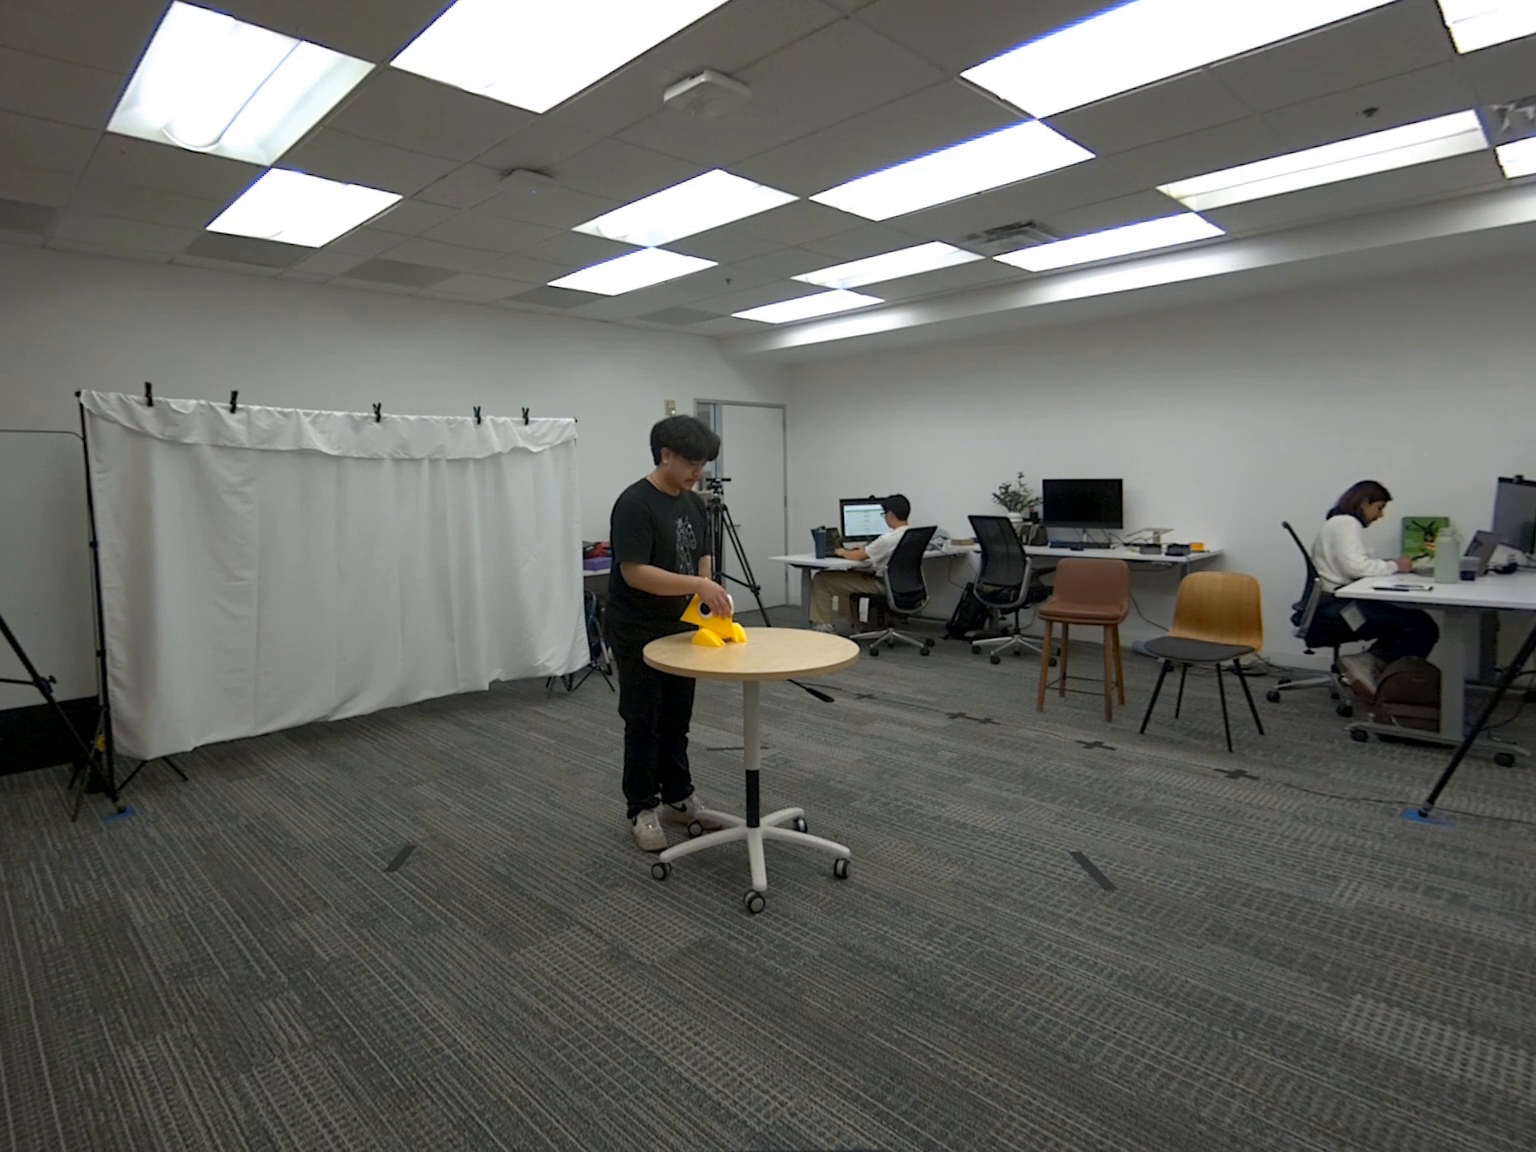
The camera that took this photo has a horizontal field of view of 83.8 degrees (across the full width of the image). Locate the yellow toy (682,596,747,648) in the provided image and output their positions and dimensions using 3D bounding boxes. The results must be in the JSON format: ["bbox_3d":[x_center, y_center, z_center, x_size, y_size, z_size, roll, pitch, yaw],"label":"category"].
[{"bbox_3d":[-0.183,0.129,3.174,0.199,0.230,0.199,-3,6,-43],"label":"yellow toy"}]
